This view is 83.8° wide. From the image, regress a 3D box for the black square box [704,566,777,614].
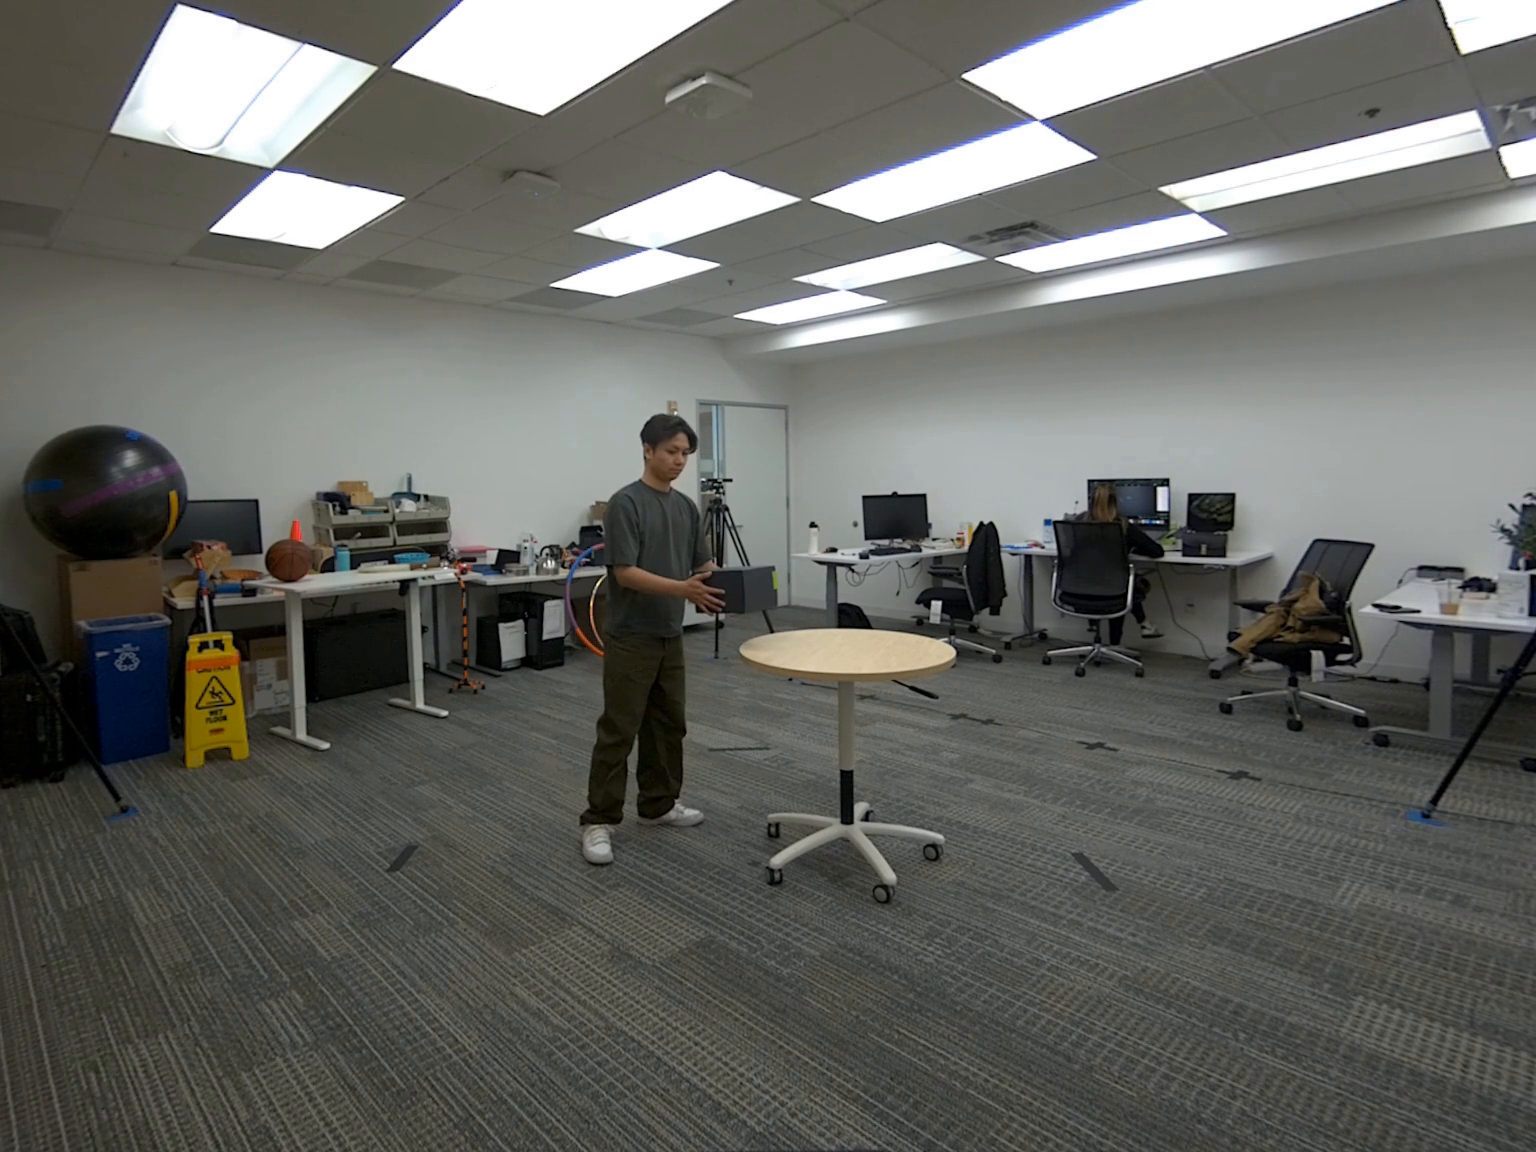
[{"bbox_3d":[-0.119,0.047,3.151,0.234,0.156,0.212,-2,2,32],"label":"black square box"}]
